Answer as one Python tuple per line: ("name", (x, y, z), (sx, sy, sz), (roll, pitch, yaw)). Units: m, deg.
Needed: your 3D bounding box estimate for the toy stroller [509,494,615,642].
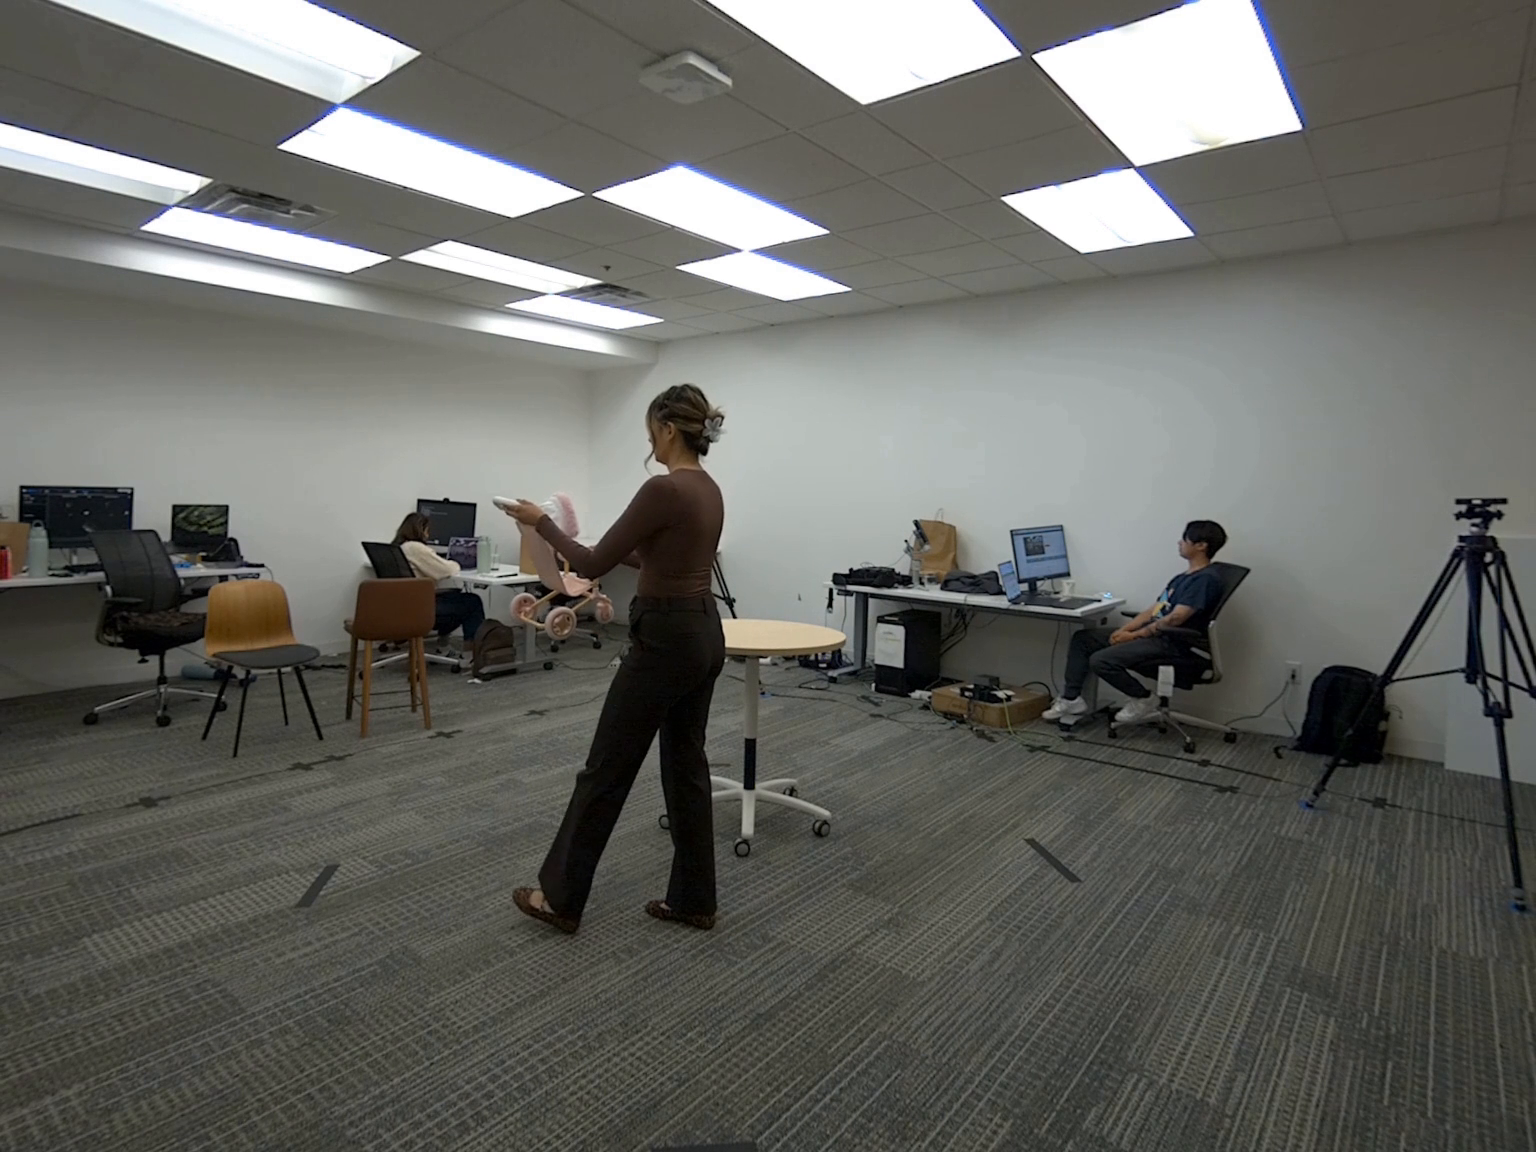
("toy stroller", (-0.715, -0.048, 2.882), (0.334, 0.526, 0.292), (-18, 20, -34))
